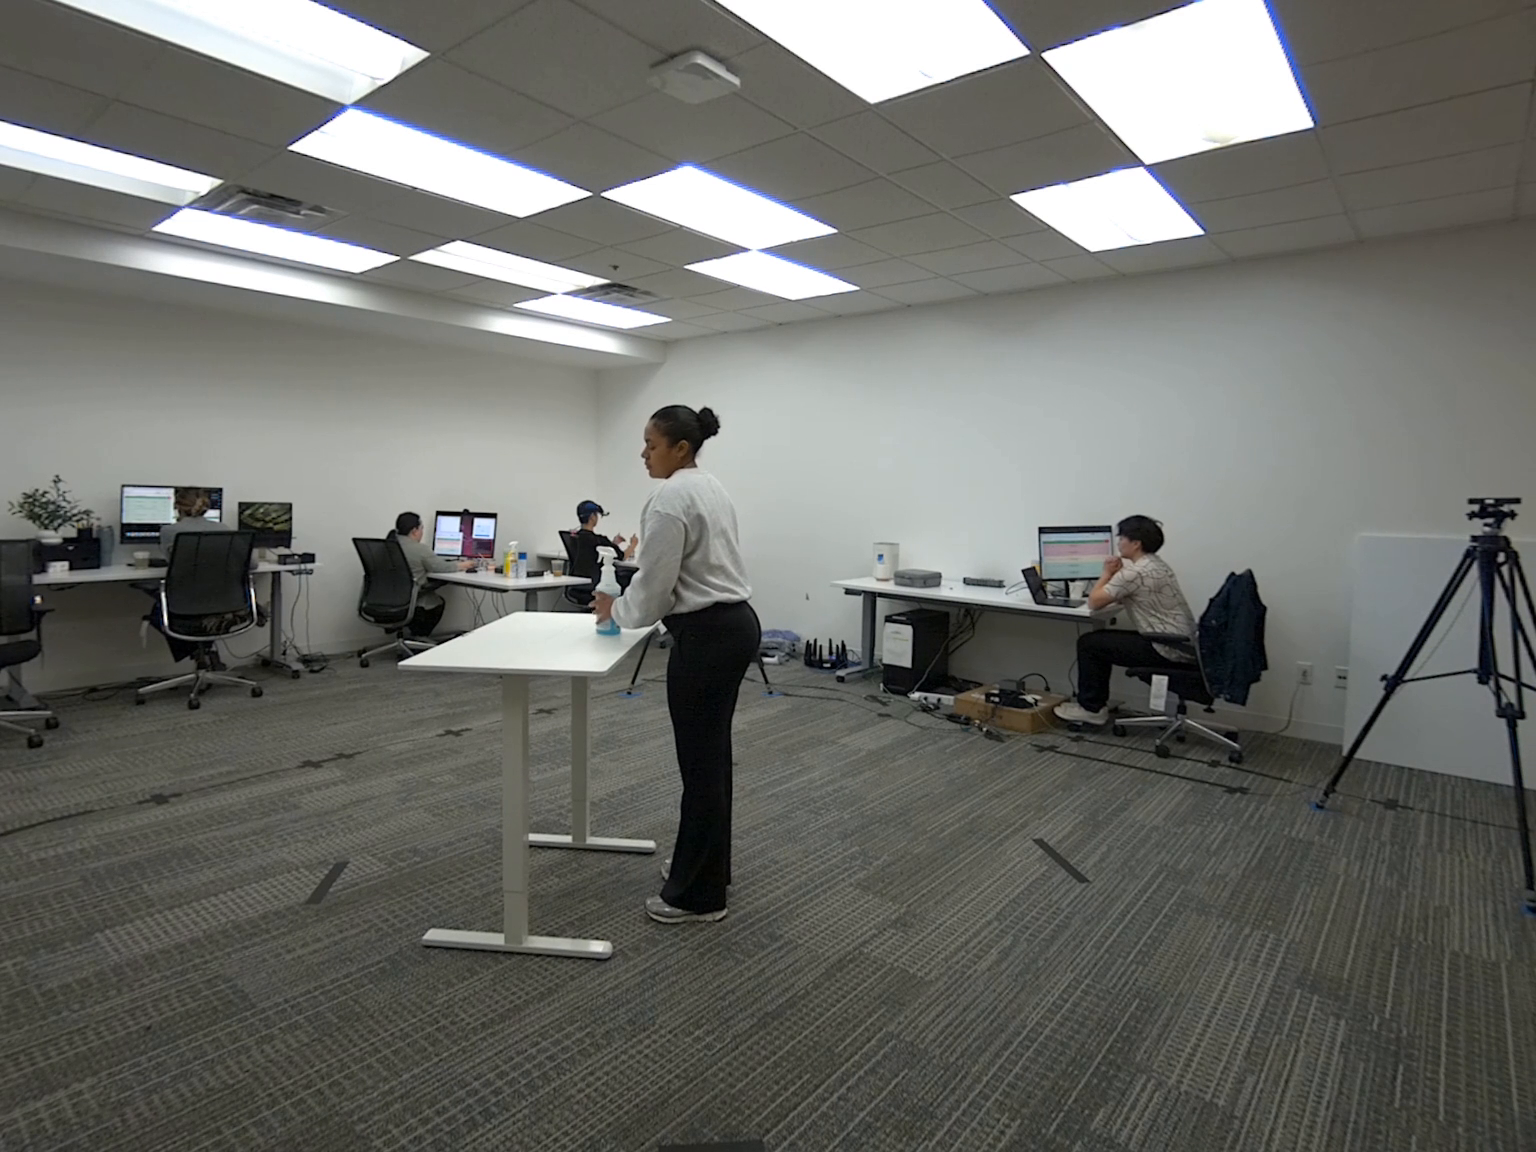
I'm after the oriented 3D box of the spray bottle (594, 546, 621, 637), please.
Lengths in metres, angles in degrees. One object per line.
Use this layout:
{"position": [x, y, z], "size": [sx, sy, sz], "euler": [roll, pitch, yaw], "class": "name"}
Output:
{"position": [-0.562, 0.046, 2.935], "size": [0.084, 0.296, 0.093], "euler": [-2, 3, -32], "class": "spray bottle"}
